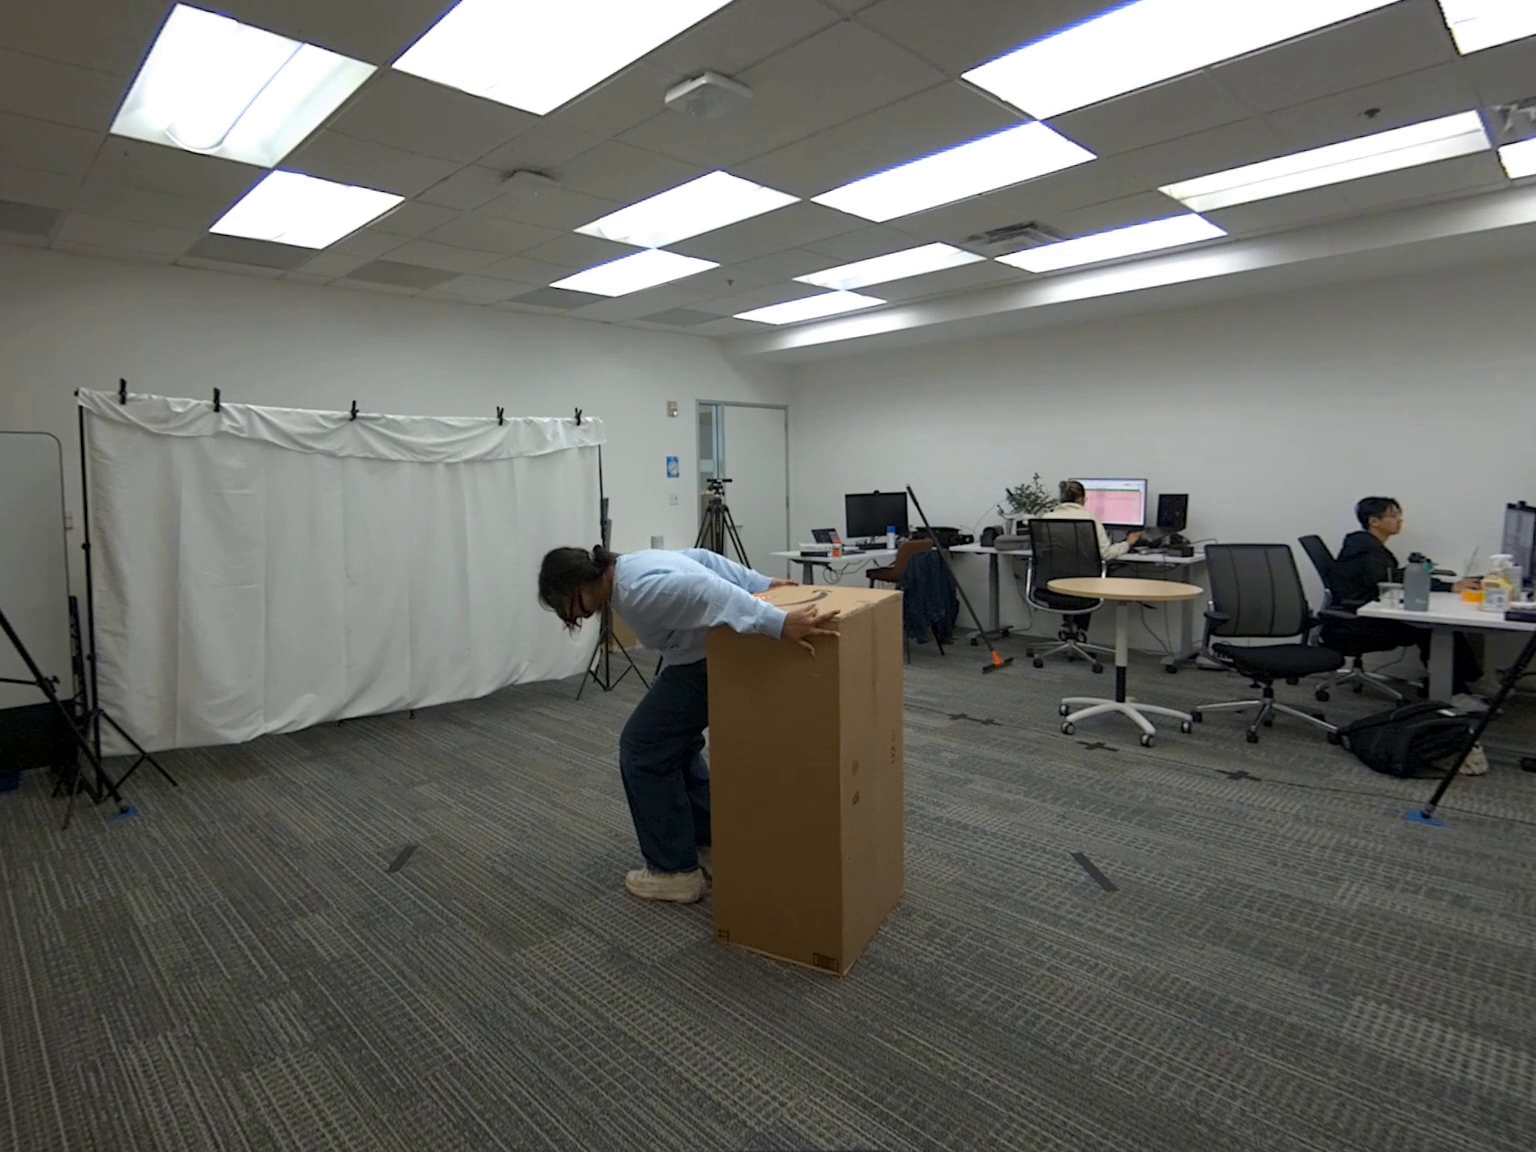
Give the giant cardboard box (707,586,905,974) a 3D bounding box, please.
[{"bbox_3d":[0.143,0.585,2.693,0.437,1.022,0.566,1,5,28],"label":"giant cardboard box"}]
